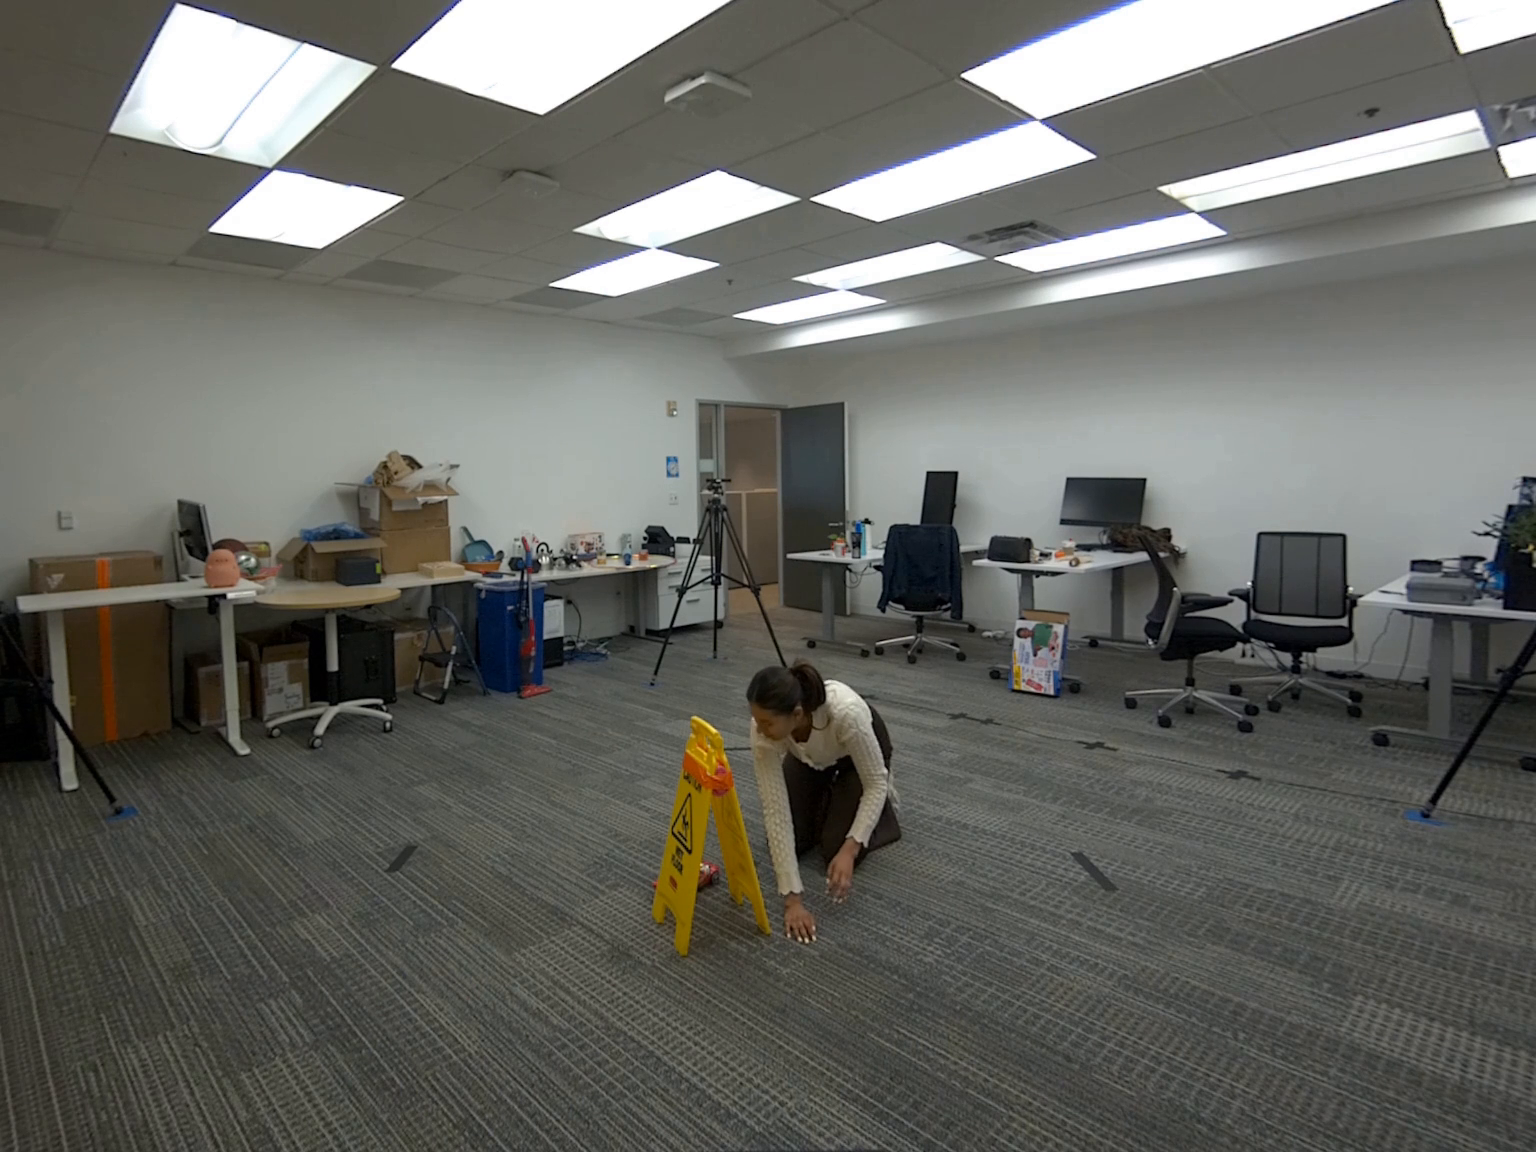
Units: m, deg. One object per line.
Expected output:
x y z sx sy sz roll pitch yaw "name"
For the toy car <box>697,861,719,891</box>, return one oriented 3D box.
-0.277 1.037 2.915 0.134 0.083 0.246 5 -2 41 "toy car"
